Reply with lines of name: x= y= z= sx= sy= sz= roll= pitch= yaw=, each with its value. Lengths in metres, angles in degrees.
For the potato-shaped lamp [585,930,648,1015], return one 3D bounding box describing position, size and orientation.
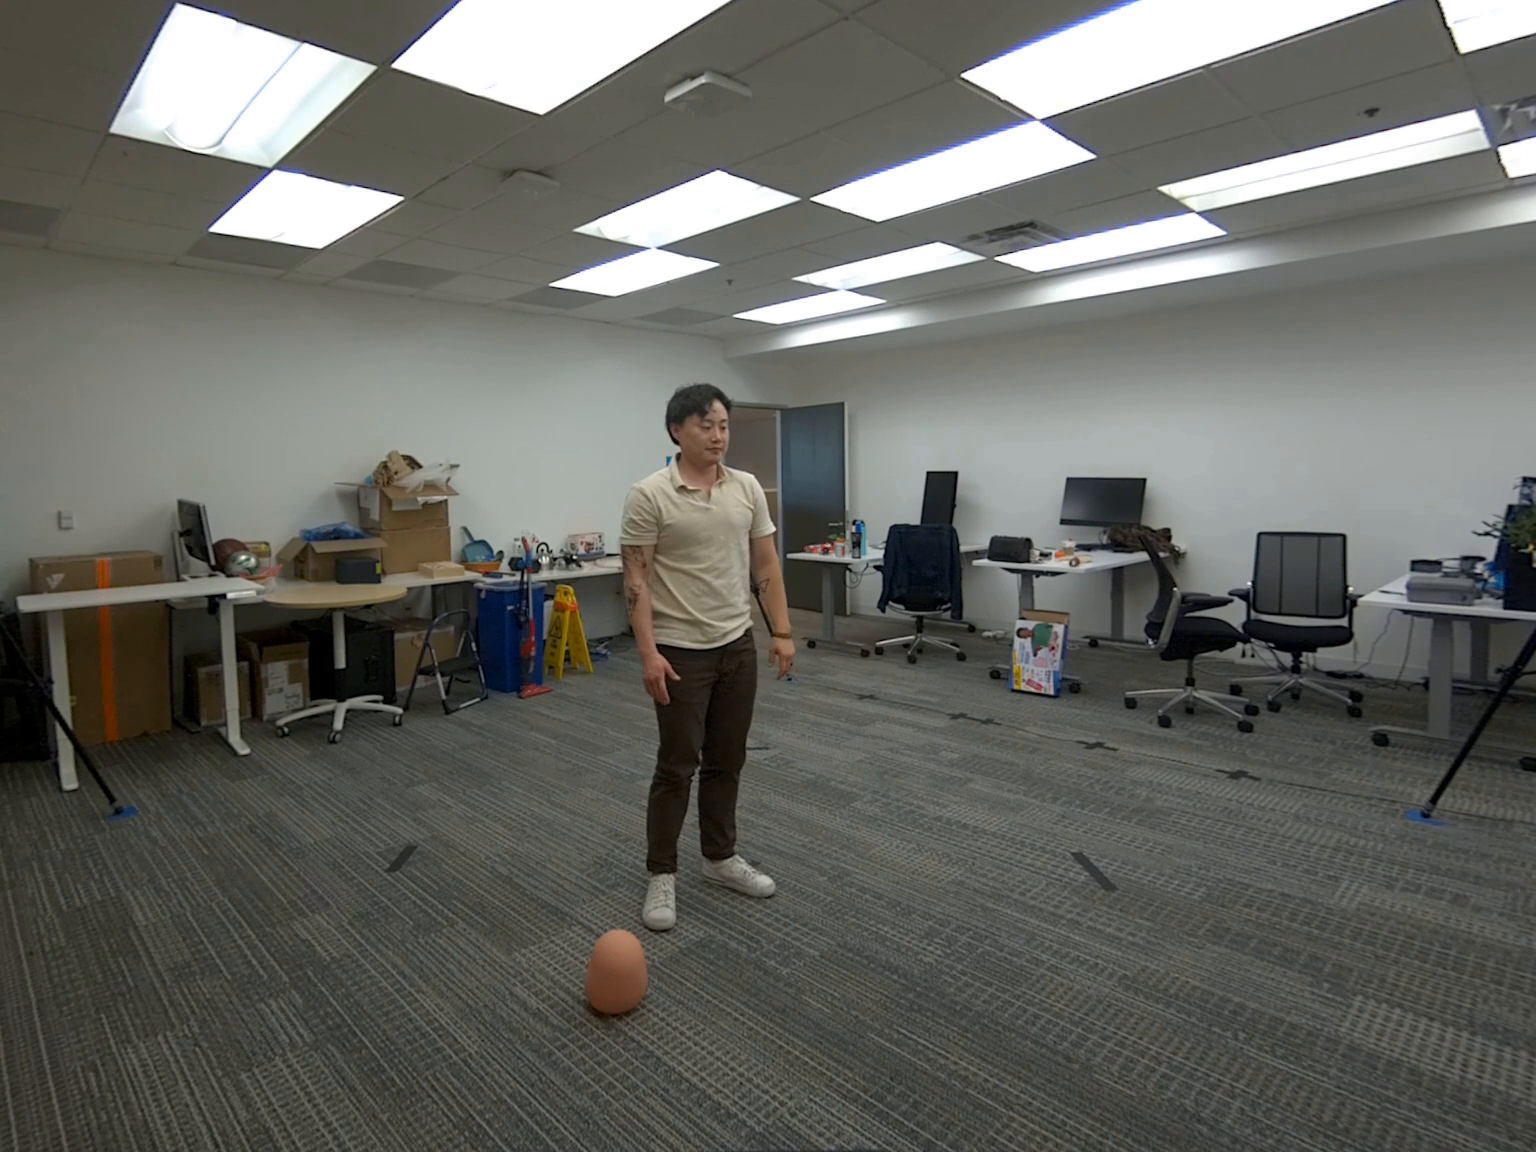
potato-shaped lamp: x=-0.399 y=1.050 z=2.283 sx=0.161 sy=0.197 sz=0.176 roll=-3 pitch=6 yaw=-31
